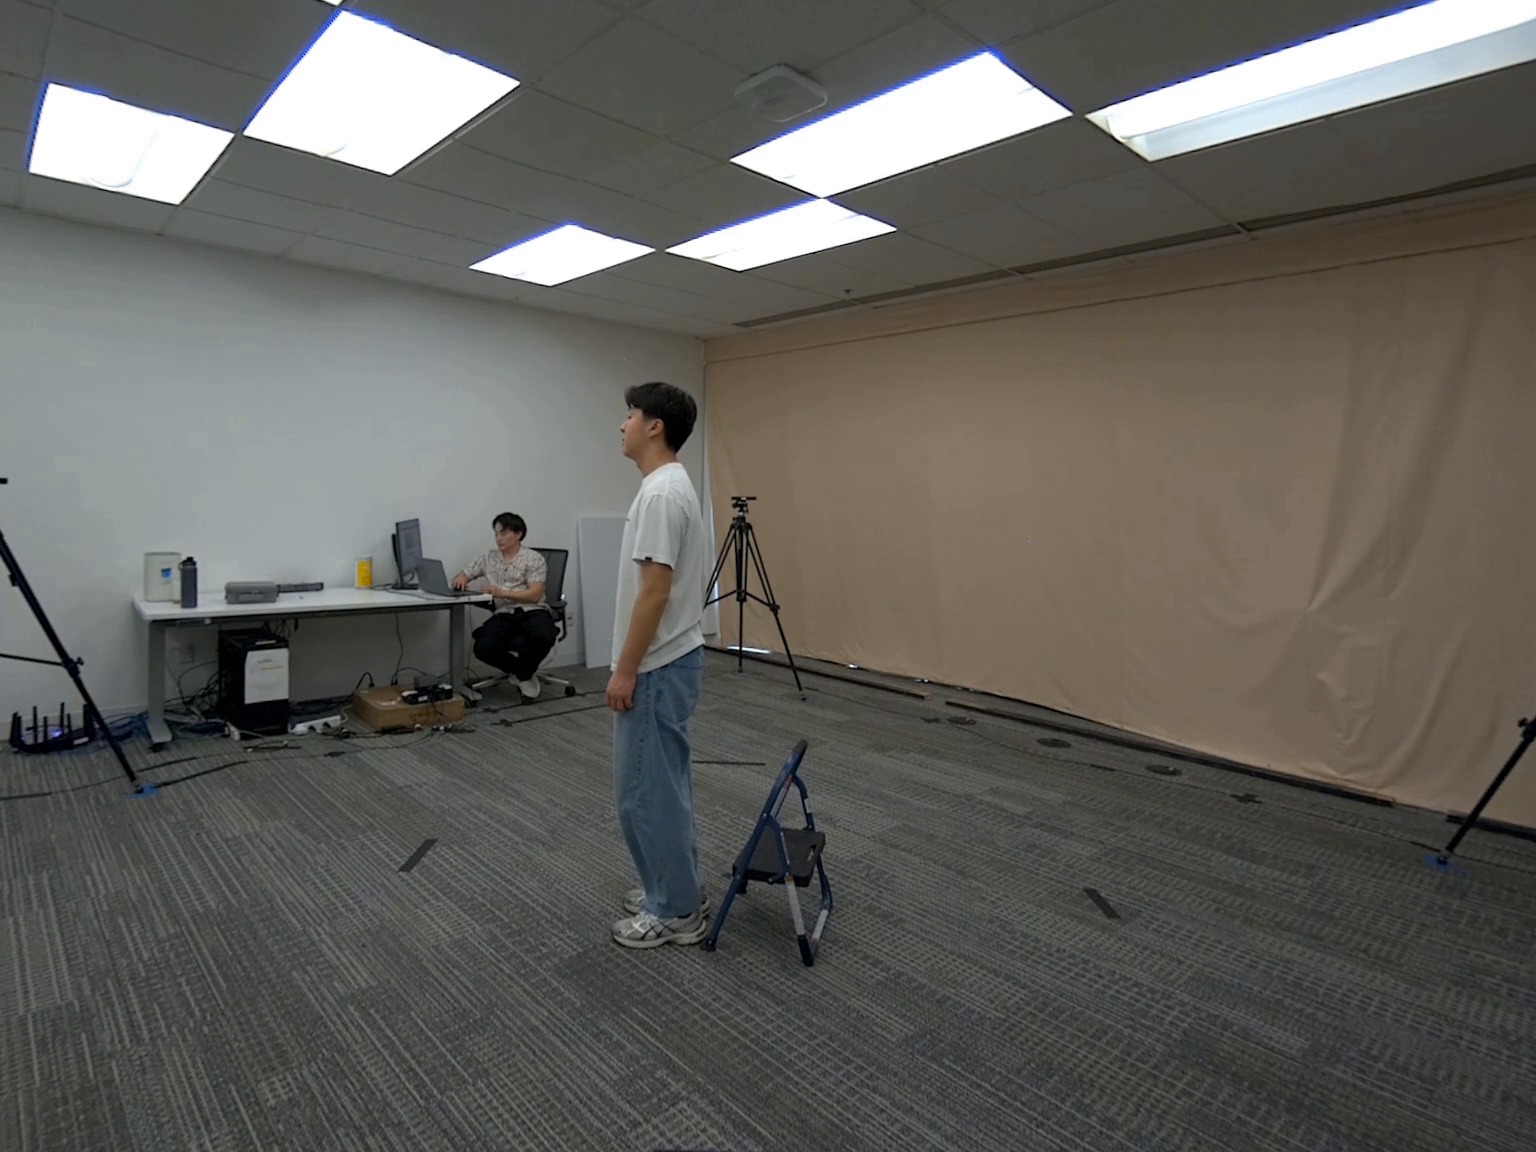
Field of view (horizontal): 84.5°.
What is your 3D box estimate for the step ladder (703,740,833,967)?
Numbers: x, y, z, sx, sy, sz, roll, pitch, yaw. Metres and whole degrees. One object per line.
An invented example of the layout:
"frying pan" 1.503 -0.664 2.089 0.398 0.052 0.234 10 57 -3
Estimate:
"step ladder" 0.014 0.843 2.724 0.353 0.604 0.427 2 4 13
